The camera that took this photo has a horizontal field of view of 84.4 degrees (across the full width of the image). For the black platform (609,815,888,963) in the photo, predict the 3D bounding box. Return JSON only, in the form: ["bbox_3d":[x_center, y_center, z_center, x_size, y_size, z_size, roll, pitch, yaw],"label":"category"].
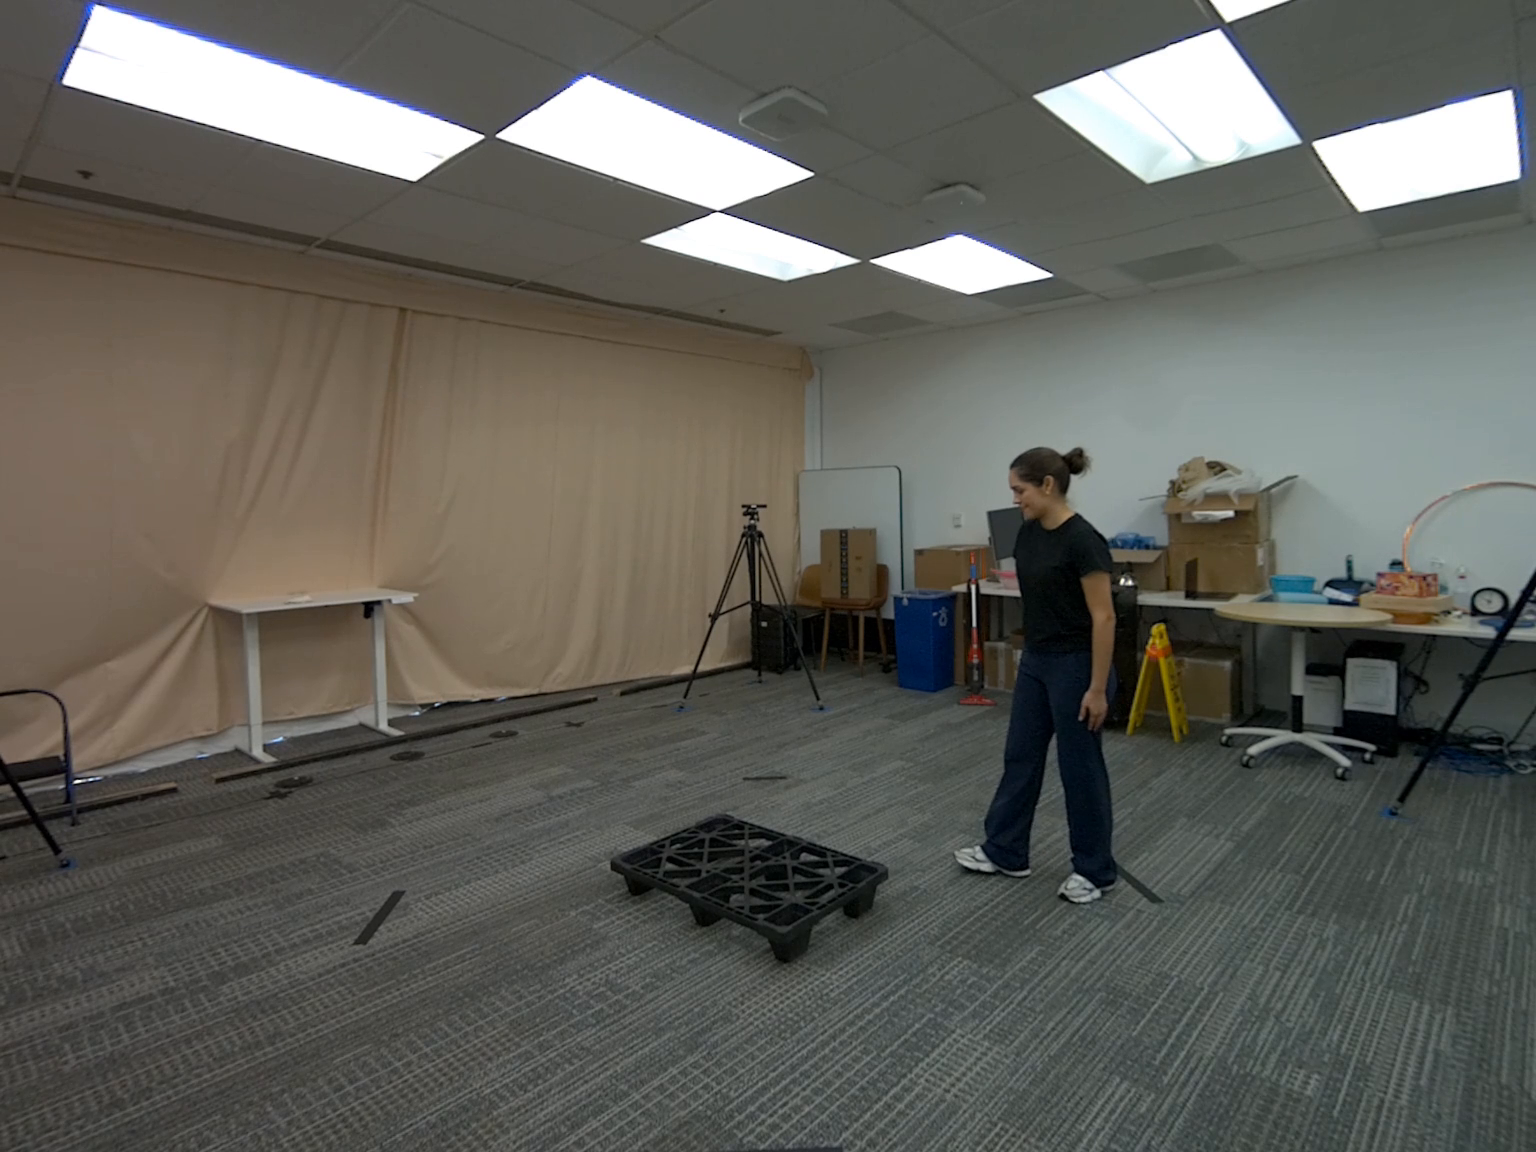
[{"bbox_3d":[-0.056,1.077,2.962,0.832,0.143,0.587,3,7,41],"label":"black platform"}]
